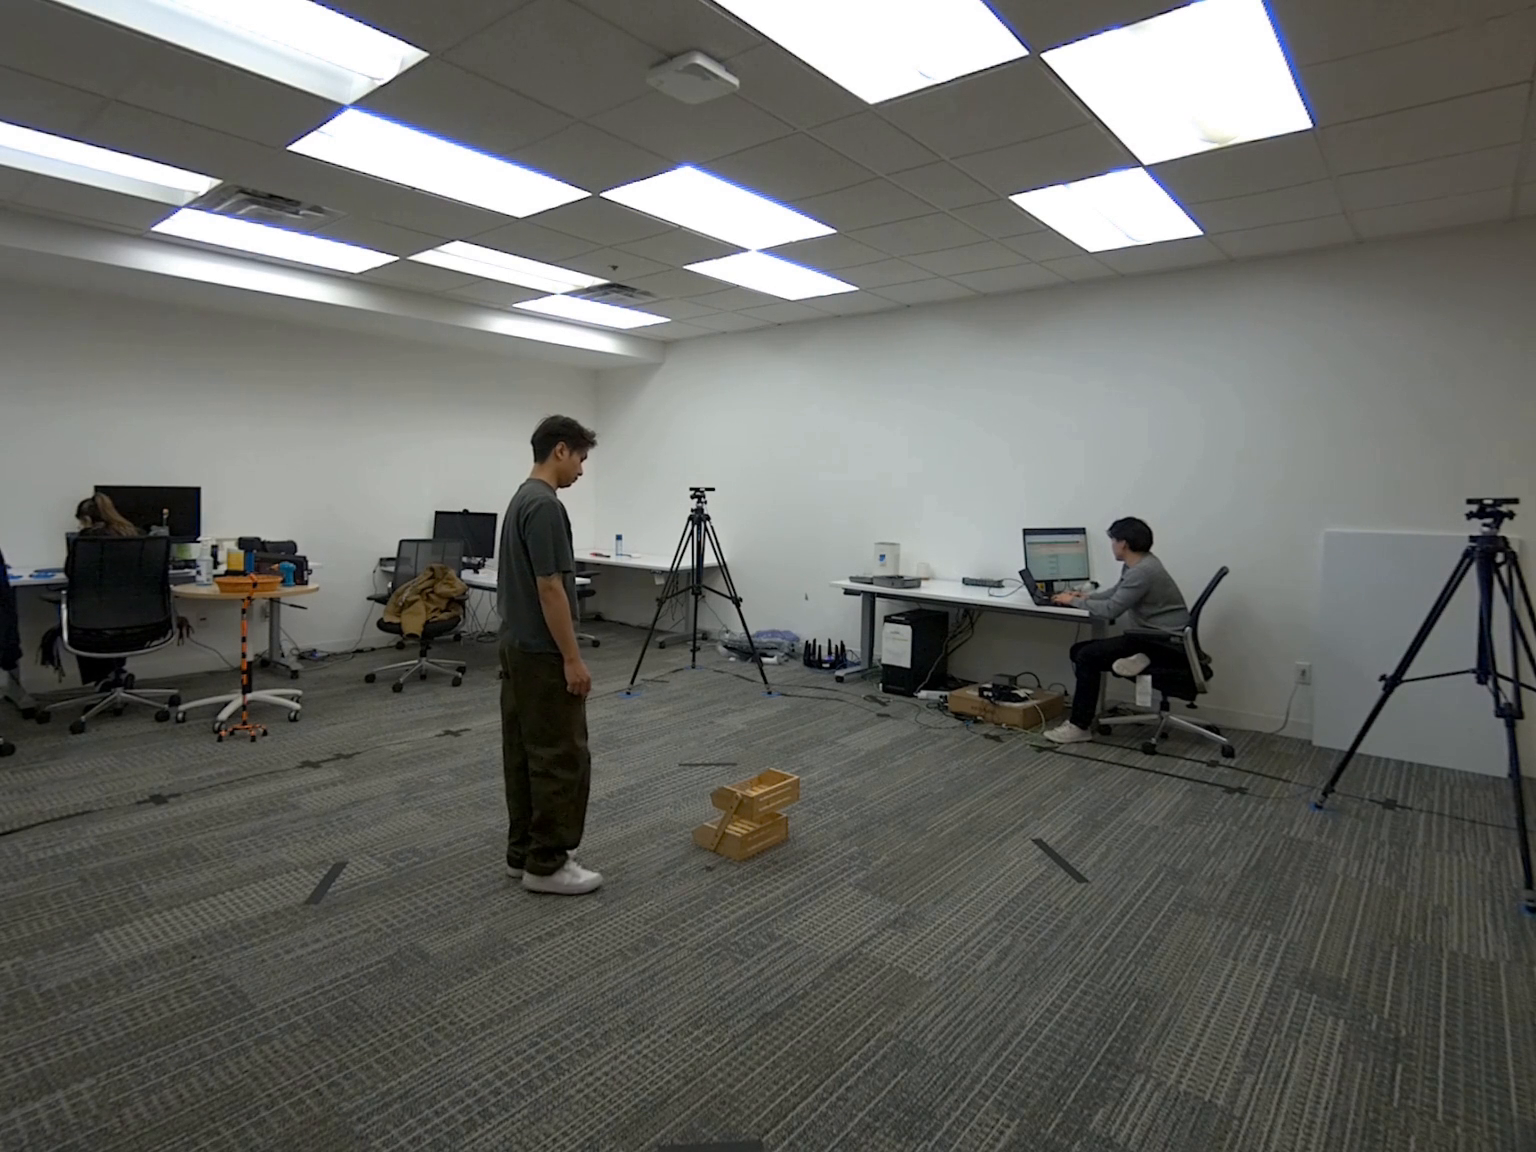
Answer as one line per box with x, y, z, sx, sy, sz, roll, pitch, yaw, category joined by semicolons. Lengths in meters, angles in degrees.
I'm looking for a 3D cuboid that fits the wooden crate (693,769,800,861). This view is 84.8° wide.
-0.103;0.909;3.346;0.312;0.272;0.315;5;6;39;wooden crate
